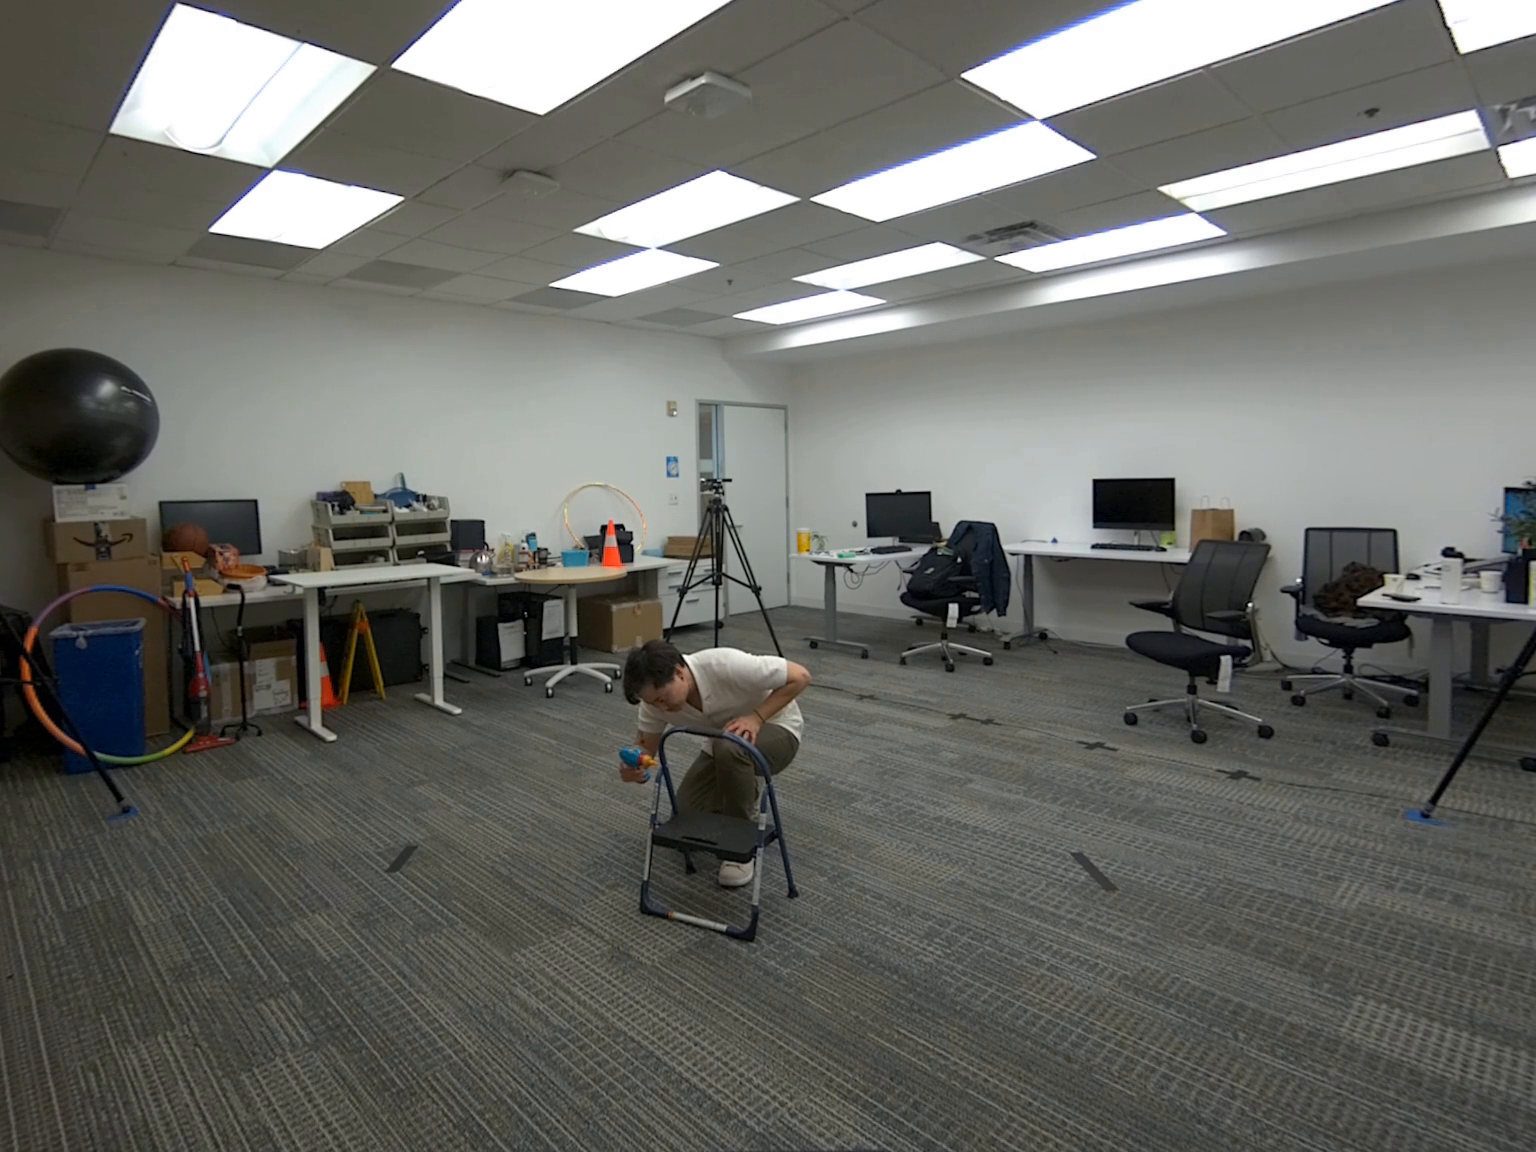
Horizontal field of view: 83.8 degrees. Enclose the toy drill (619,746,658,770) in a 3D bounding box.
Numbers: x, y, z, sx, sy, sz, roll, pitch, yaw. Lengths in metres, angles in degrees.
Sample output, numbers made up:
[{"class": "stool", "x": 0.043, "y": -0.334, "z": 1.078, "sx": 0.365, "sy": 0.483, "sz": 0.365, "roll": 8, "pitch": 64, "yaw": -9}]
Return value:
[{"class": "toy drill", "x": -0.437, "y": 0.652, "z": 2.961, "sx": 0.175, "sy": 0.141, "sz": 0.061, "roll": 8, "pitch": 47, "yaw": 33}]
